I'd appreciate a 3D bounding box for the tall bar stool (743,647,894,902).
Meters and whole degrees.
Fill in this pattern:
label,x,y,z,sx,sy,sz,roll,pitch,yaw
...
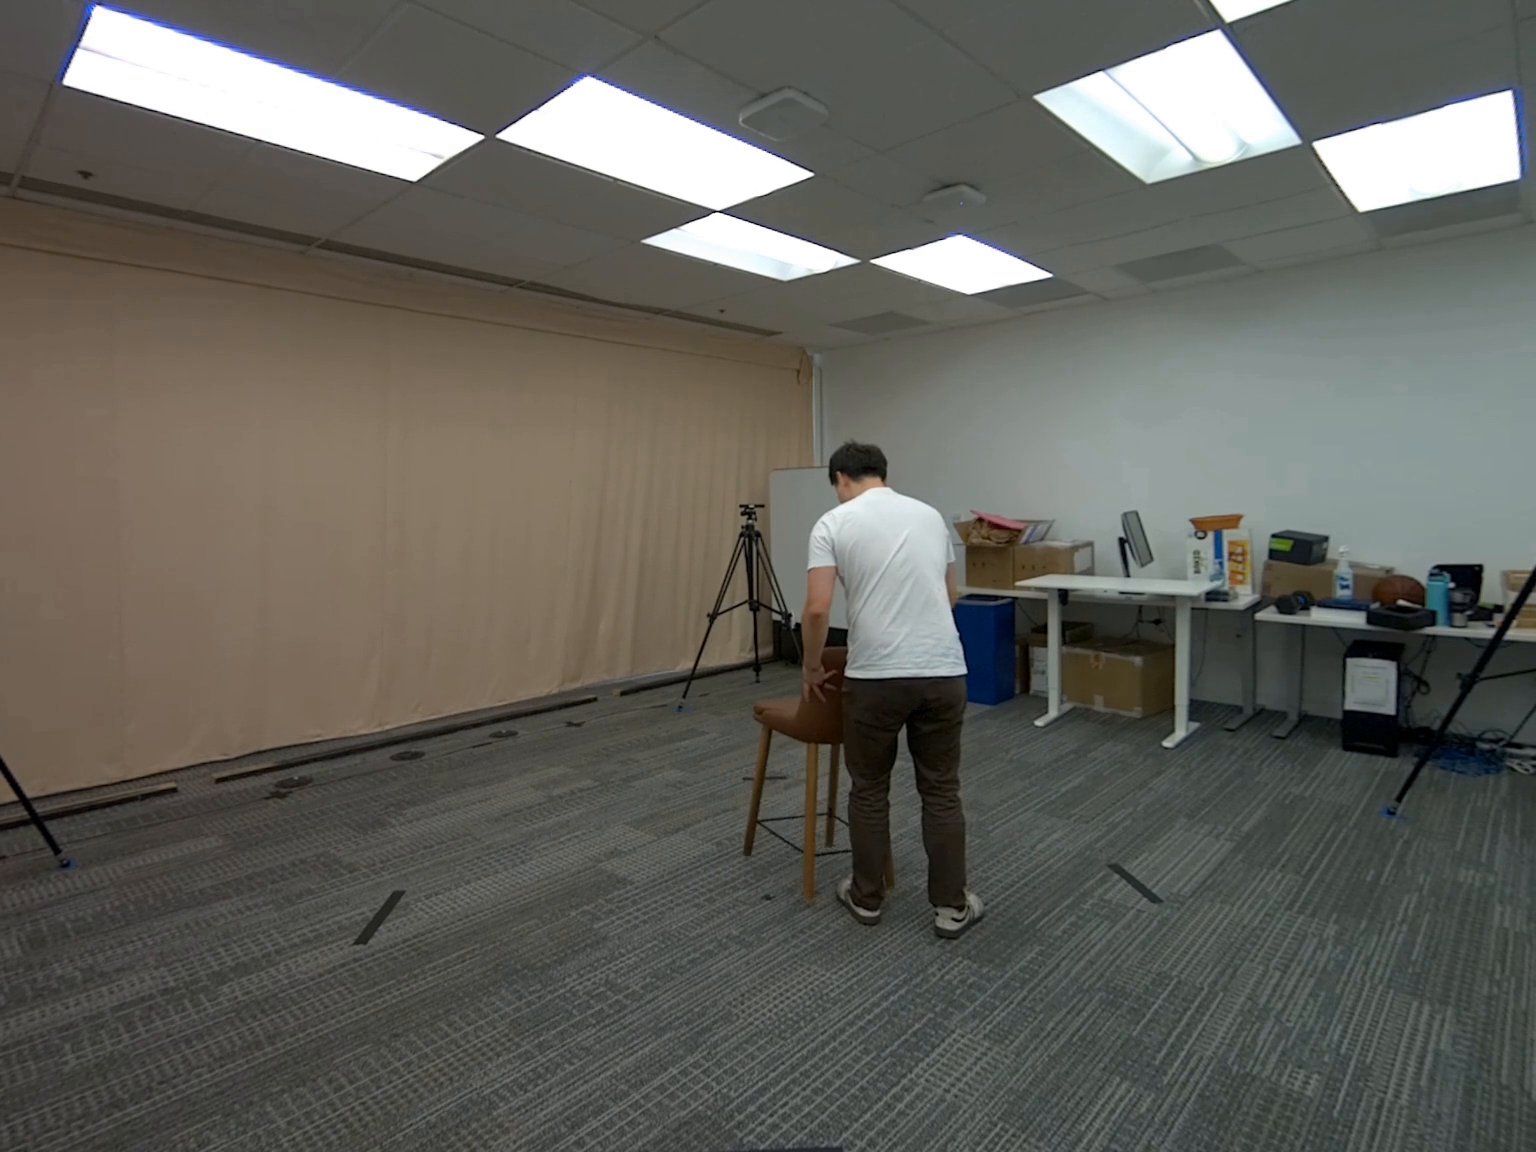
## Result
label,x,y,z,sx,sy,sz,roll,pitch,yaw
tall bar stool,0.221,0.670,3.145,0.444,0.888,0.481,2,4,-28
